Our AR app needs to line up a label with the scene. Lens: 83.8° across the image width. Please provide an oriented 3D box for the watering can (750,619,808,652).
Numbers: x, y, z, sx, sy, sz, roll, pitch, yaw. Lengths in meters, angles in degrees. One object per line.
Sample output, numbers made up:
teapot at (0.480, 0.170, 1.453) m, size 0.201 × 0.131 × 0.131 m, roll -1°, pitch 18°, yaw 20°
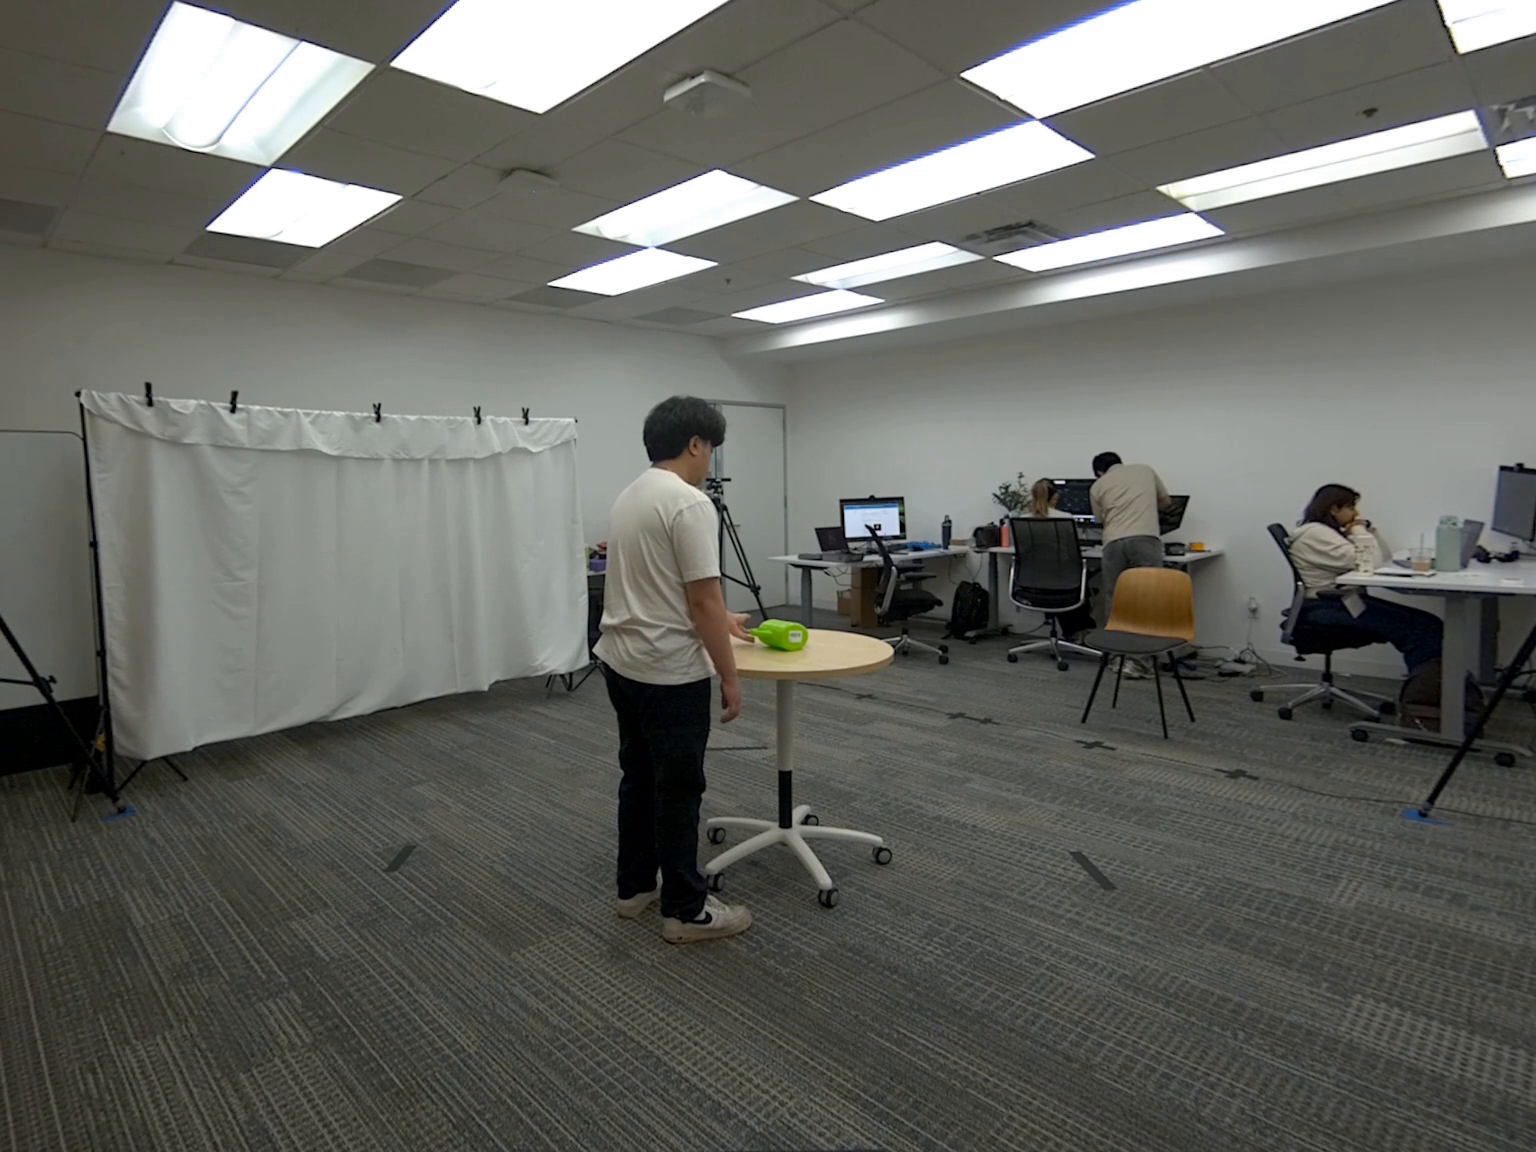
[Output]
watering can at (0.075, 0.198, 3.070) m, size 0.272 × 0.097 × 0.182 m, roll -12°, pitch 12°, yaw -38°
